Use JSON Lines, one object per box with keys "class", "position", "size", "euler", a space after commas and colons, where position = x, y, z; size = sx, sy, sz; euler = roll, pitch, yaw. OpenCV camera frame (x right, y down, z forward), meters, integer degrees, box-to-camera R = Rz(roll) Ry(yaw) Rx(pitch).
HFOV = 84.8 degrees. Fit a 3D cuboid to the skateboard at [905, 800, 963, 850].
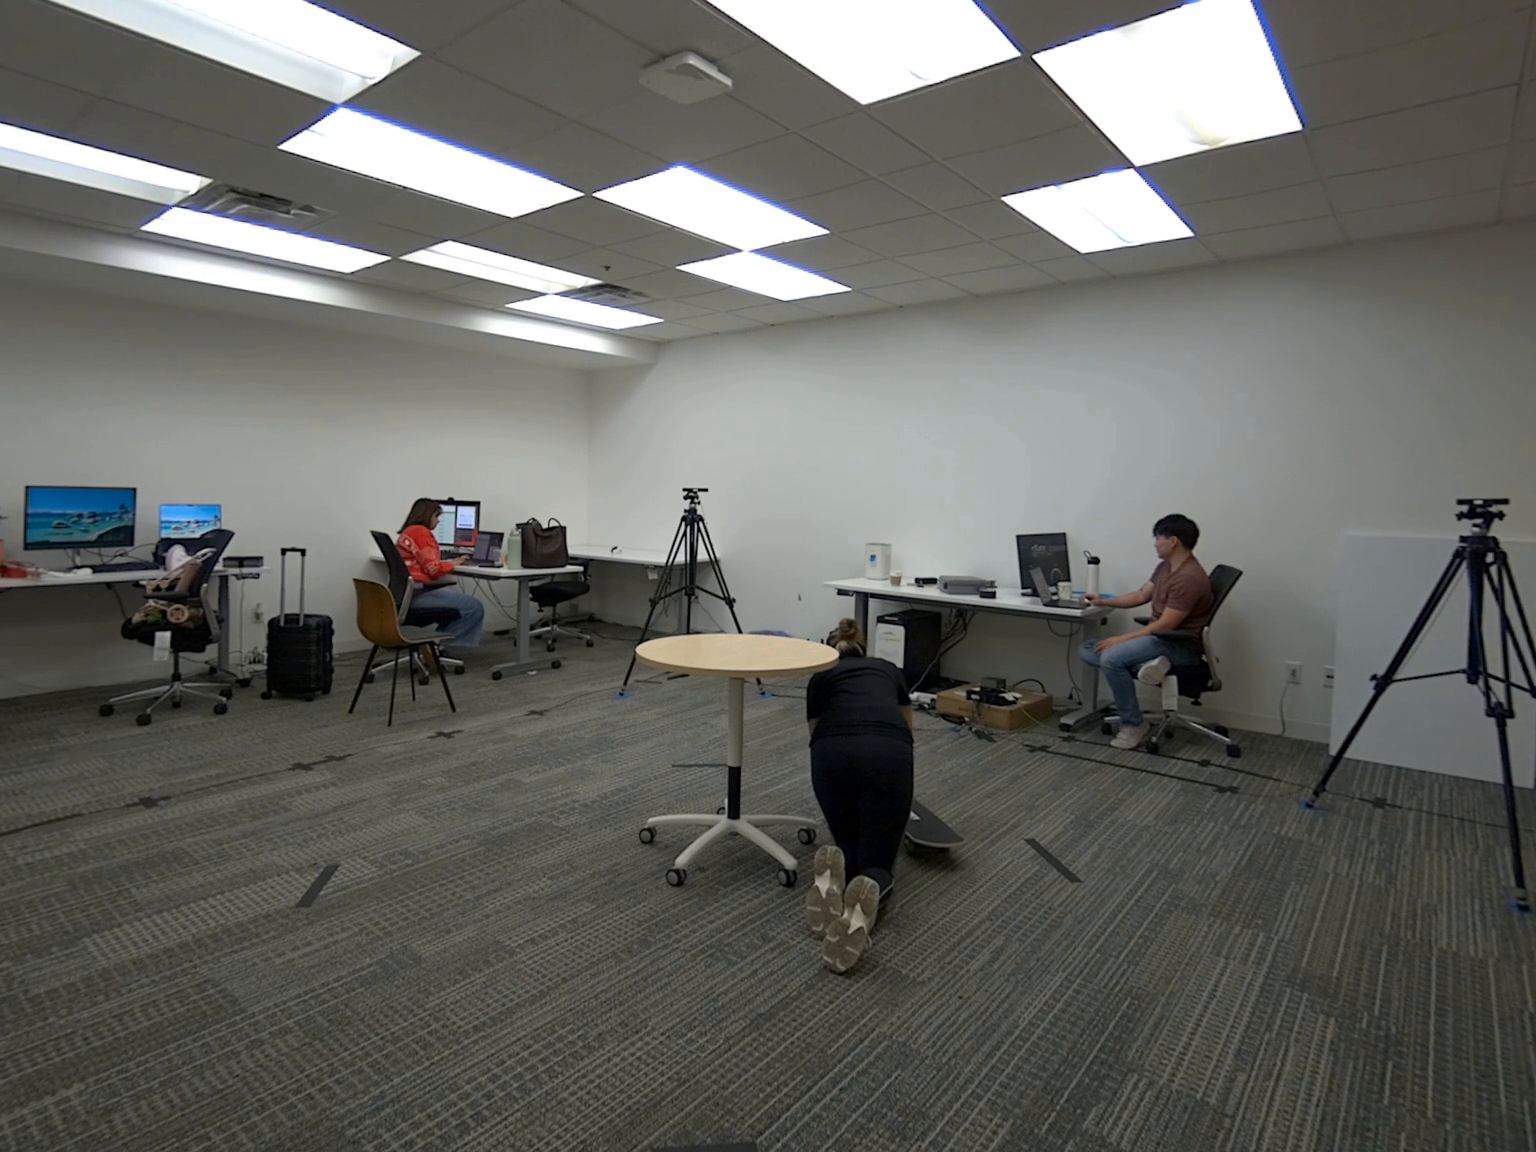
{"class": "skateboard", "position": [0.556, 0.991, 3.503], "size": [0.191, 0.110, 0.800], "euler": [-1, 7, -15]}
